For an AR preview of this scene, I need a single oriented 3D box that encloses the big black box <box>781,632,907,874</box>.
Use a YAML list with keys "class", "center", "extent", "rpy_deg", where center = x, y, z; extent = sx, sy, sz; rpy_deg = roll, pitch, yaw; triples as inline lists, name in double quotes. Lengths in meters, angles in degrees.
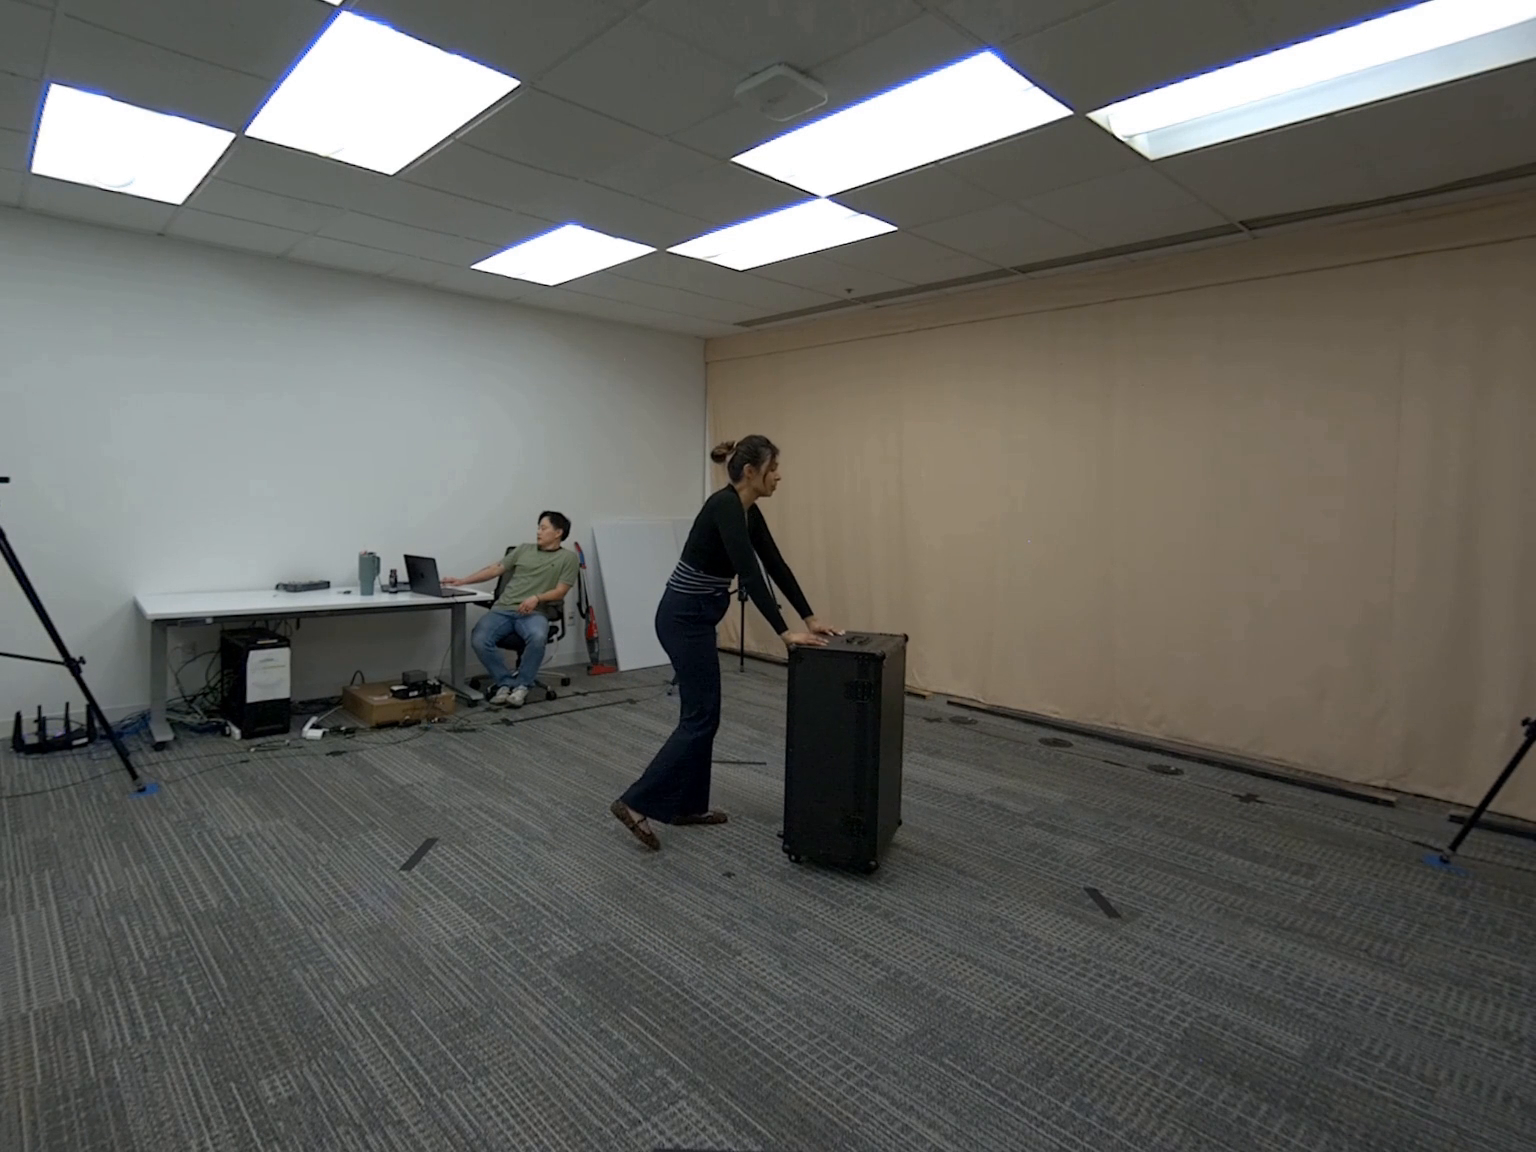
- class: "big black box"
  center: [0.290, 0.672, 3.269]
  extent: [0.403, 0.860, 0.514]
  rpy_deg: [1, 3, 20]
